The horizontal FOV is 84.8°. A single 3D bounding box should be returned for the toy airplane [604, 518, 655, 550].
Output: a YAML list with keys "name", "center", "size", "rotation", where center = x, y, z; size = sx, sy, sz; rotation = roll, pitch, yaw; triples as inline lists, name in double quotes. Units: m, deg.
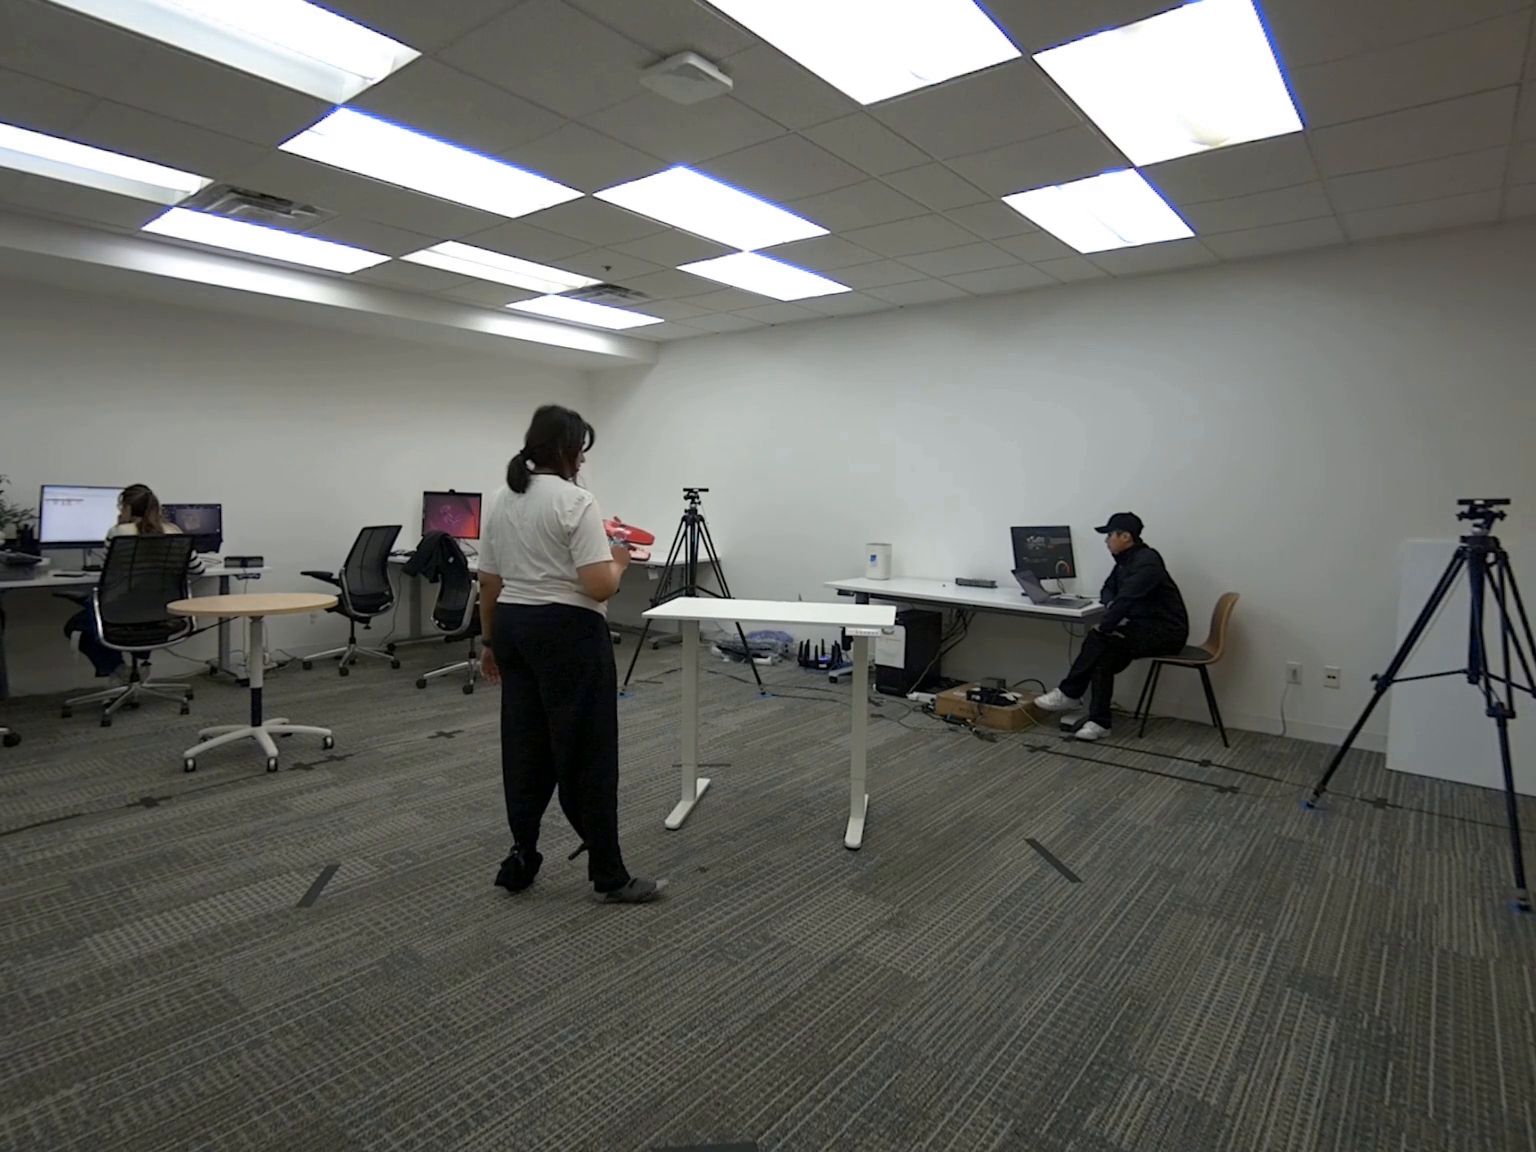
- name: "toy airplane"
  center: [-0.554, -0.102, 3.198]
  size: [0.244, 0.154, 0.269]
  rotation: [6, 21, -27]
